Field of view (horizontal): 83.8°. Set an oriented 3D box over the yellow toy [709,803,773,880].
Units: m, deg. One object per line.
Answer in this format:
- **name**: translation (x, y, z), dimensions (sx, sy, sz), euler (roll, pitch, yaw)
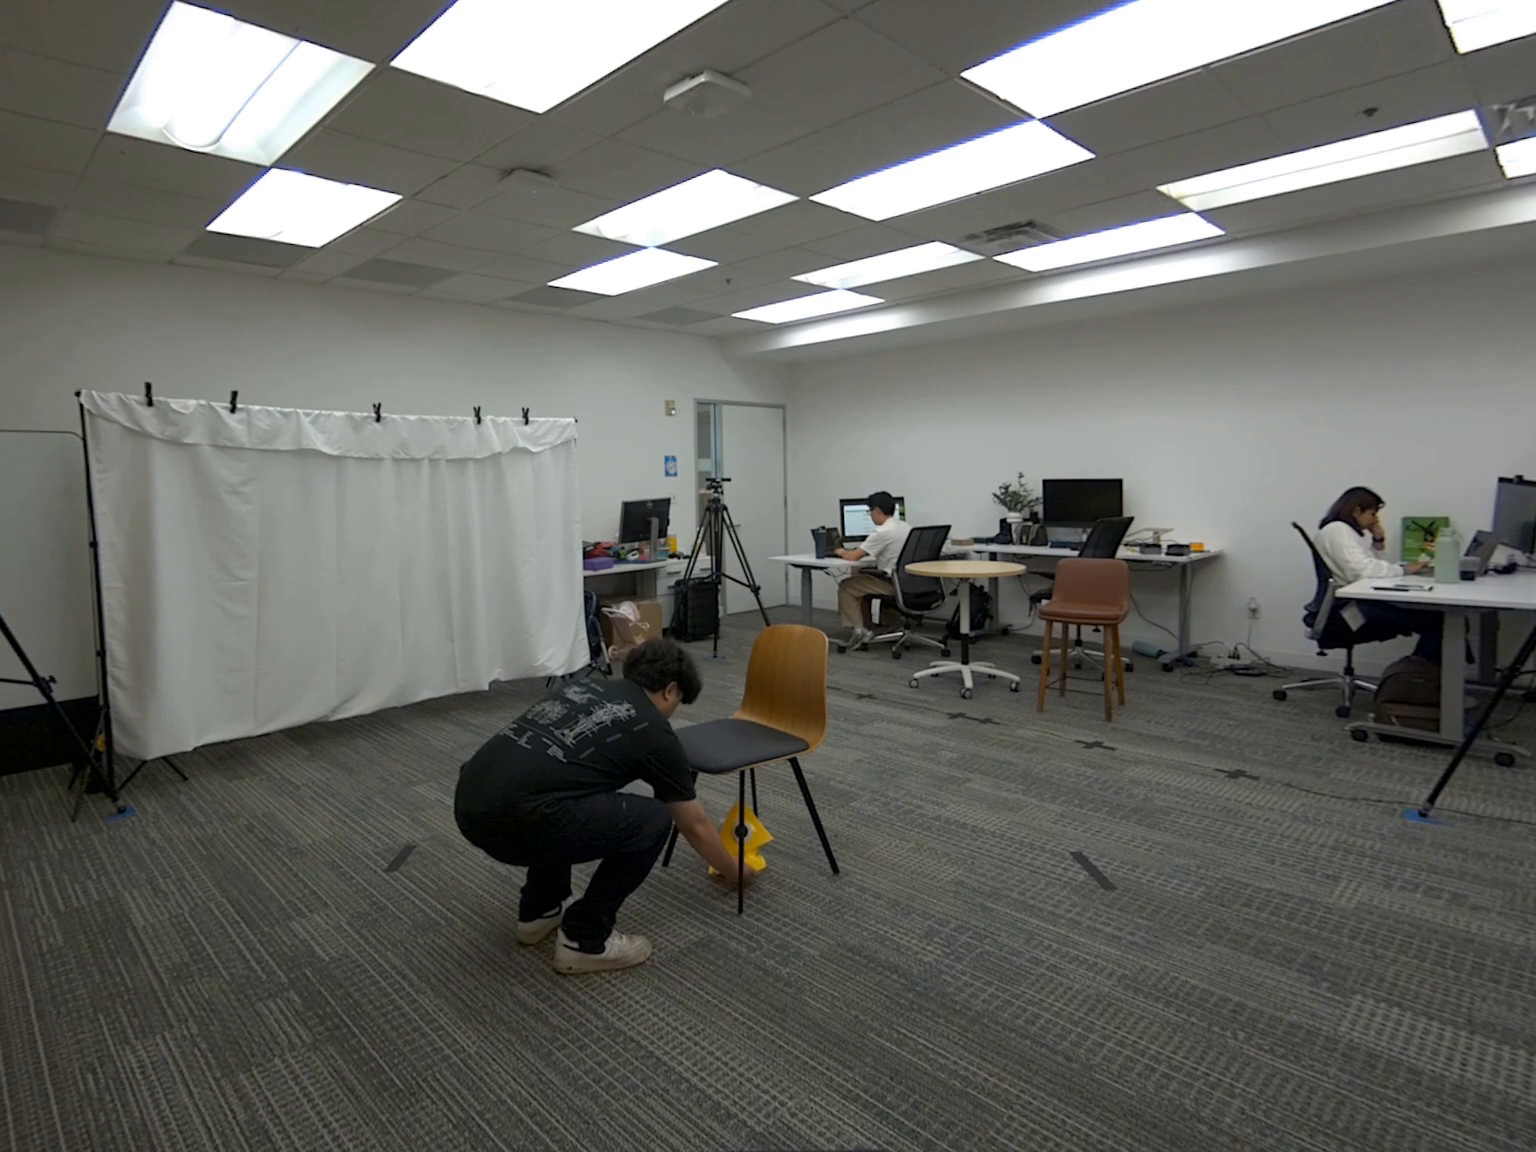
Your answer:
- **yellow toy**: translation (-0.121, 0.913, 2.992), dimensions (0.188, 0.232, 0.209), euler (-5, -7, -38)
